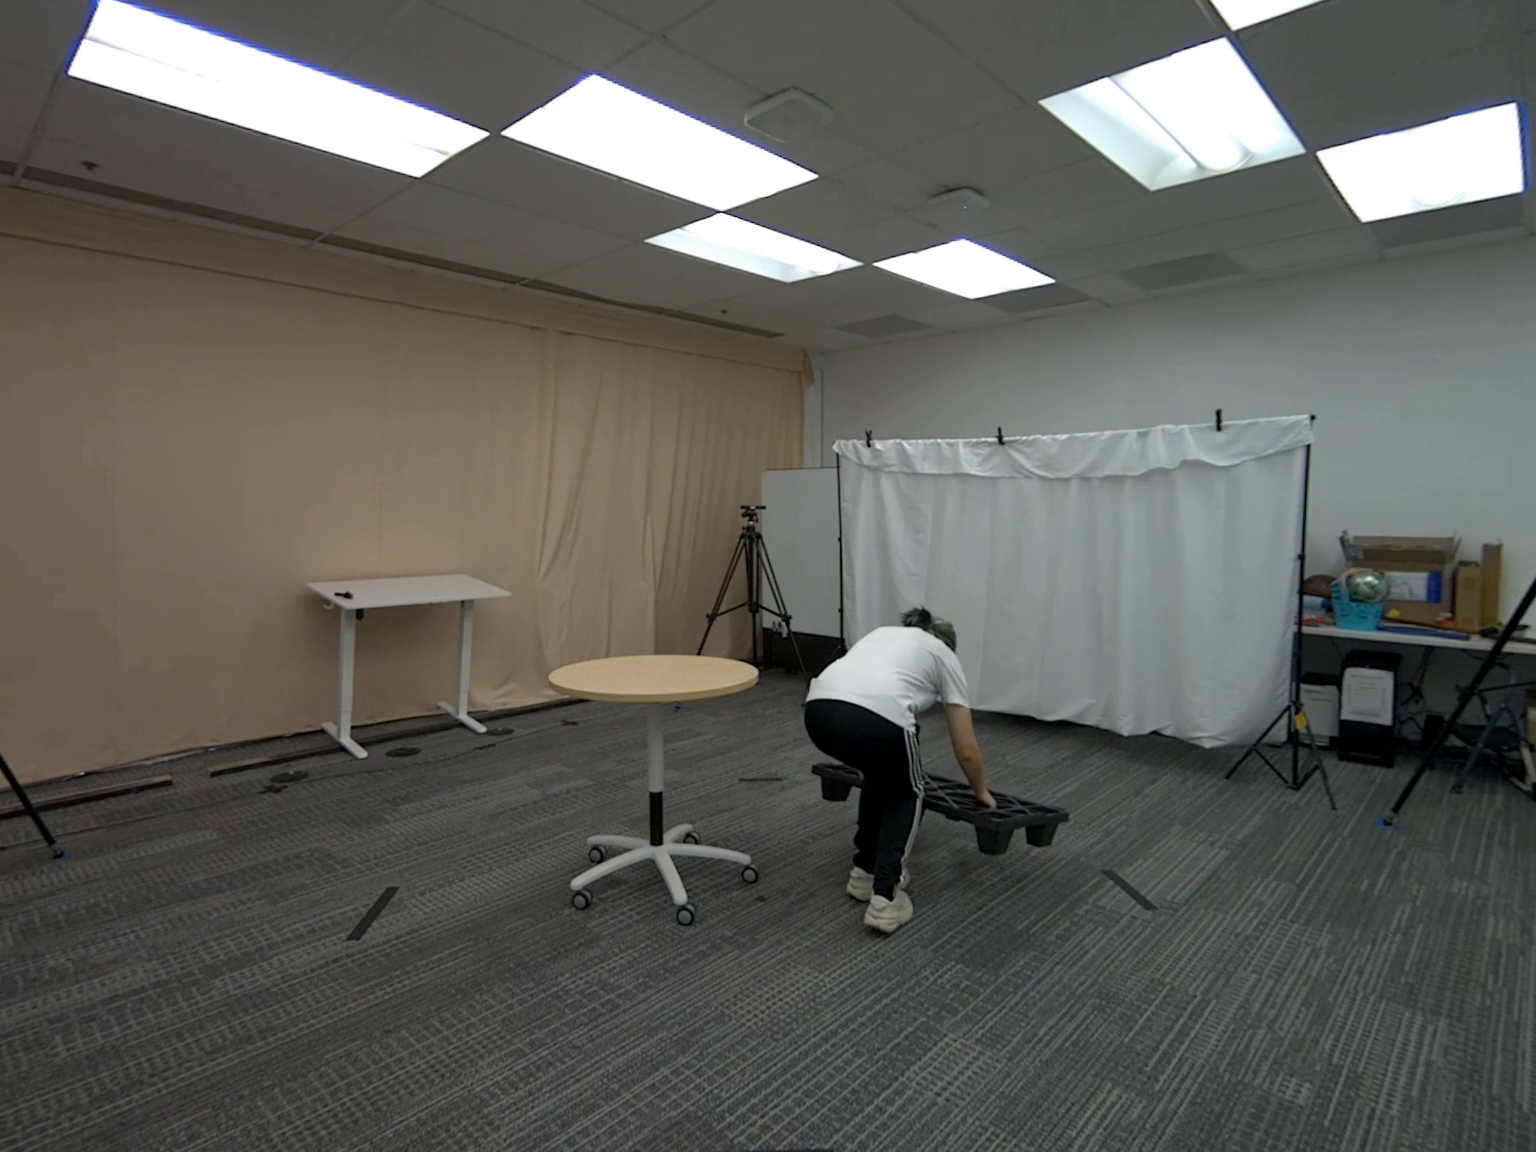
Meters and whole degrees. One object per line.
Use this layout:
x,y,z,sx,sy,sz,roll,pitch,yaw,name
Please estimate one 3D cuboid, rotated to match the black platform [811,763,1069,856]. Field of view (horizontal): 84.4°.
0.658,0.885,3.273,0.833,0.143,0.584,6,-5,44,black platform
